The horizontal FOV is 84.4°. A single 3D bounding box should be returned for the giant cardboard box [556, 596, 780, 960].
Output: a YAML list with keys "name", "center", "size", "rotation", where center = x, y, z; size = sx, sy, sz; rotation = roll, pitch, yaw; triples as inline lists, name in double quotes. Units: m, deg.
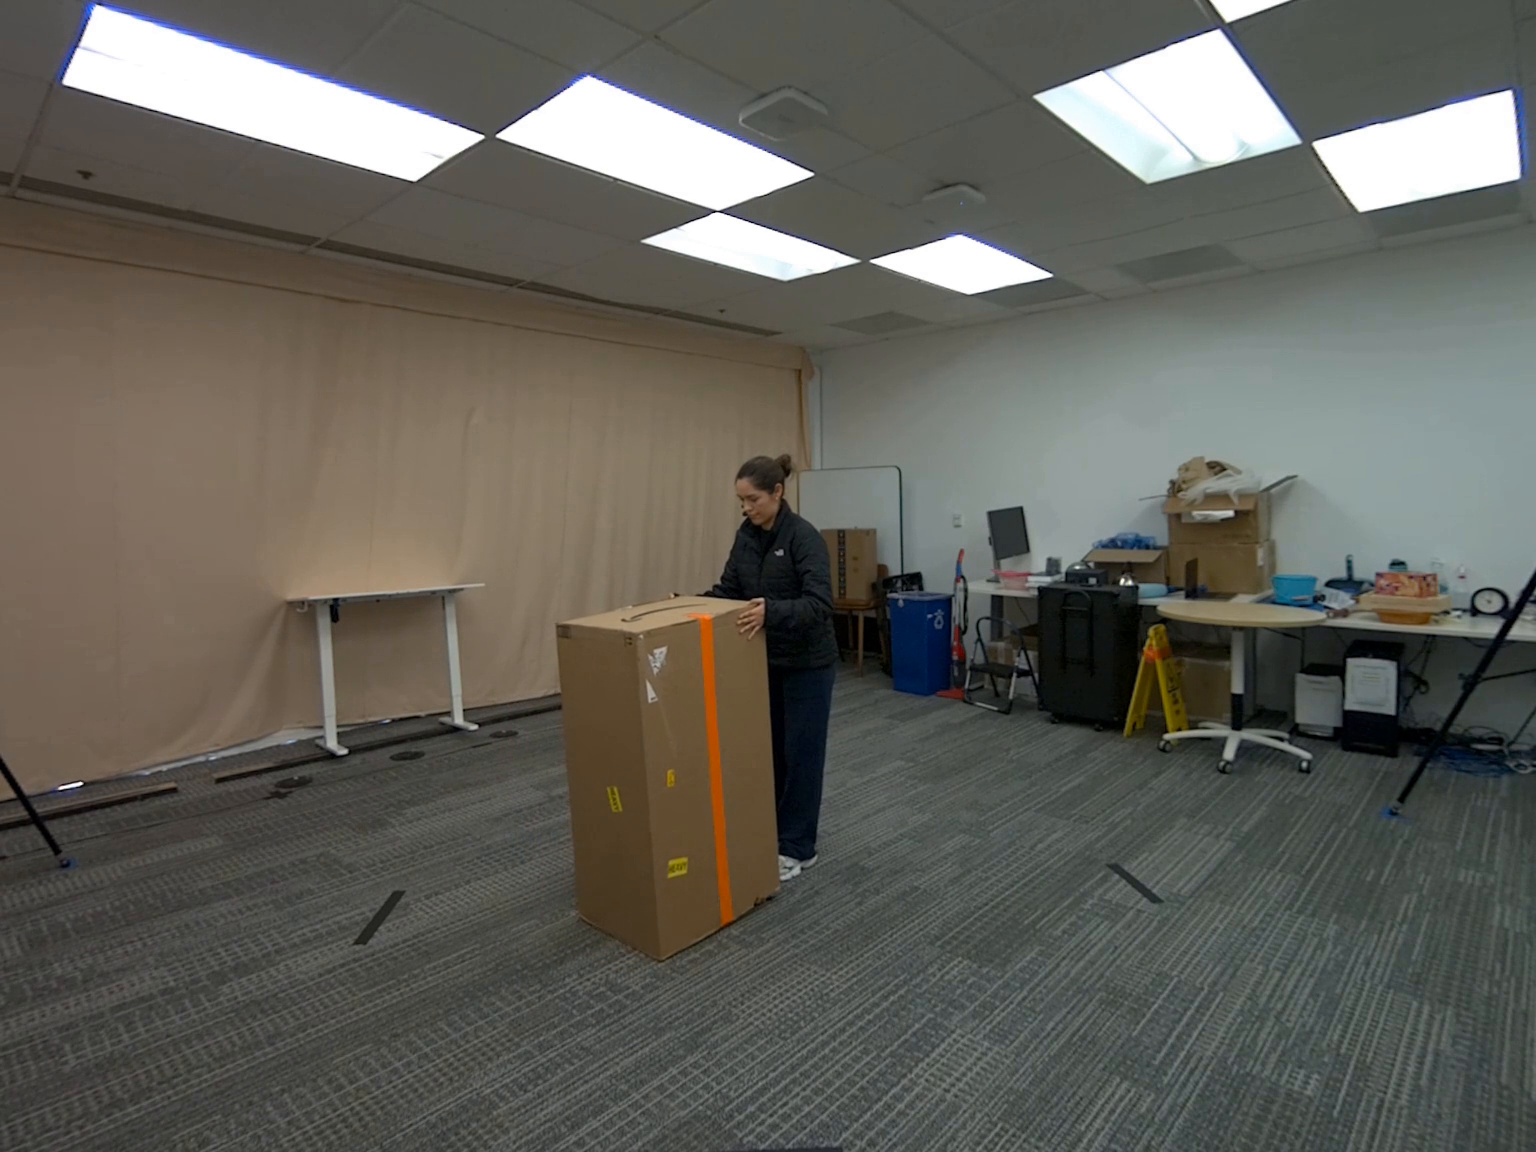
- name: "giant cardboard box"
  center: [-0.317, 0.637, 2.866]
  size: [0.440, 1.022, 0.561]
  rotation: [1, 7, 43]
